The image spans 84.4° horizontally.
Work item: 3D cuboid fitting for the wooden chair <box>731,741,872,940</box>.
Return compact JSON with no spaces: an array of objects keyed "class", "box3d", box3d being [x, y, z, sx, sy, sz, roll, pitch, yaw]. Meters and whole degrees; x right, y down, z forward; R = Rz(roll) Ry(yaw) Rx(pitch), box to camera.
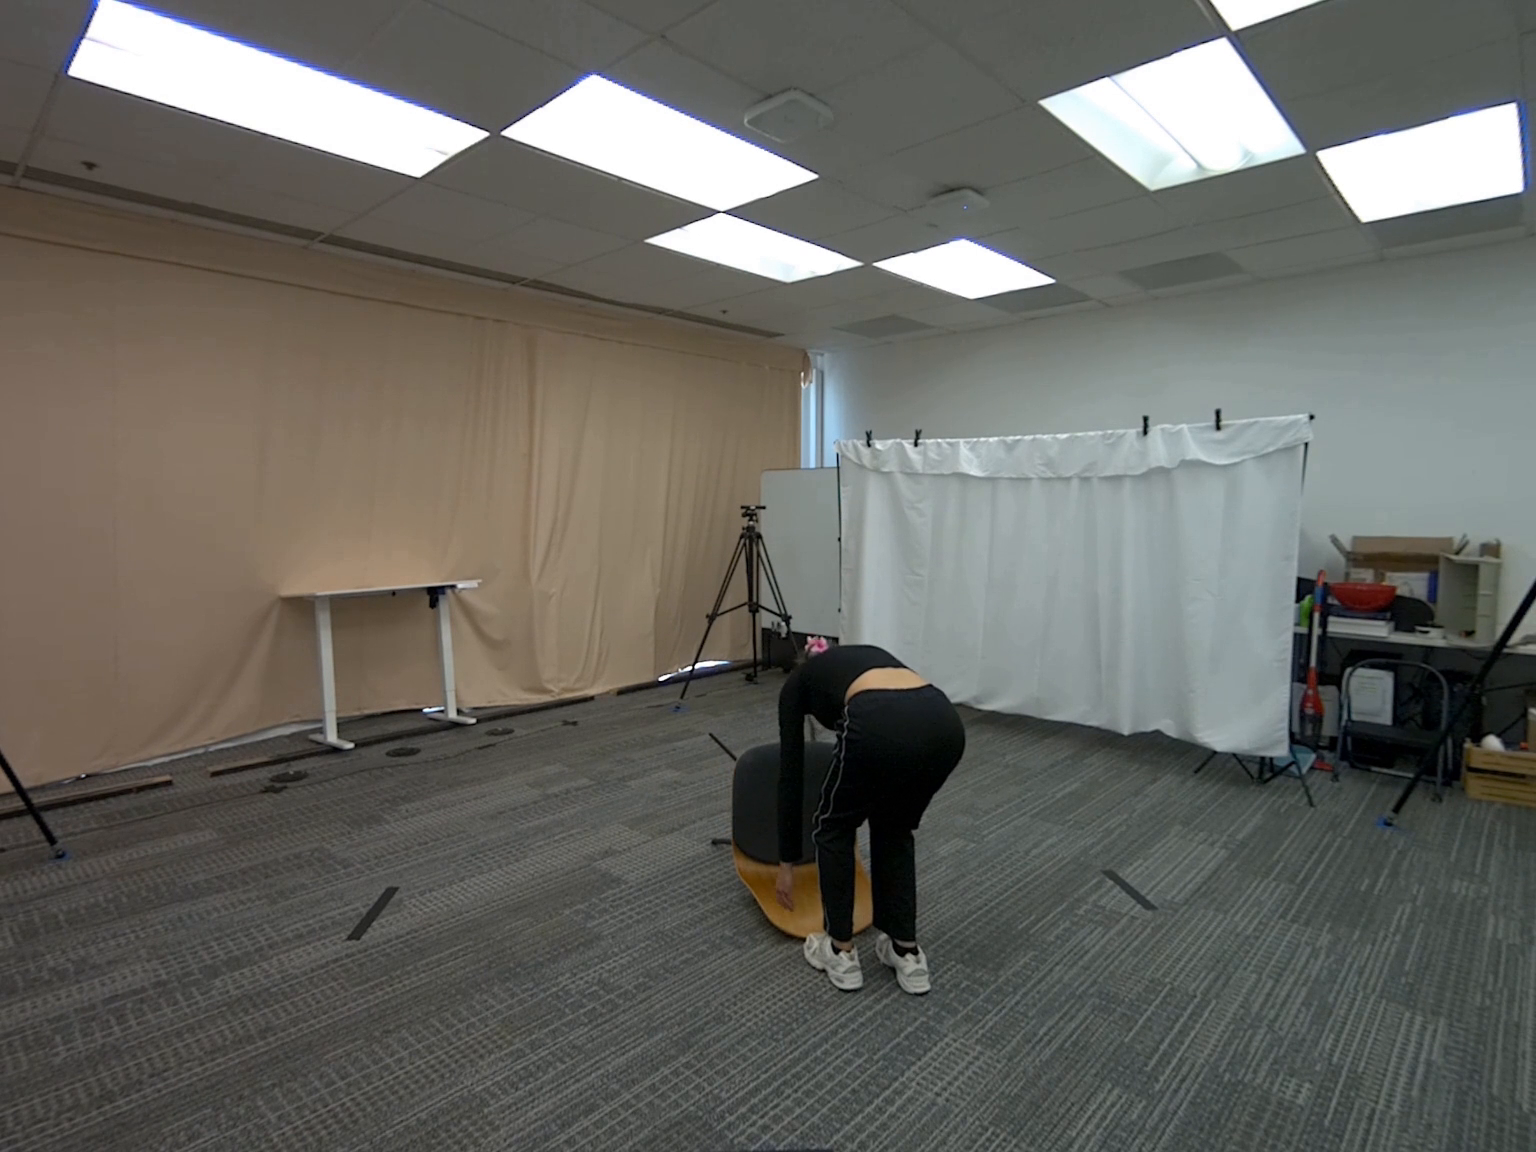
[{"class":"wooden chair","box3d":[0.086,0.873,3.108,0.471,0.522,0.892,-1,5,-14]}]
